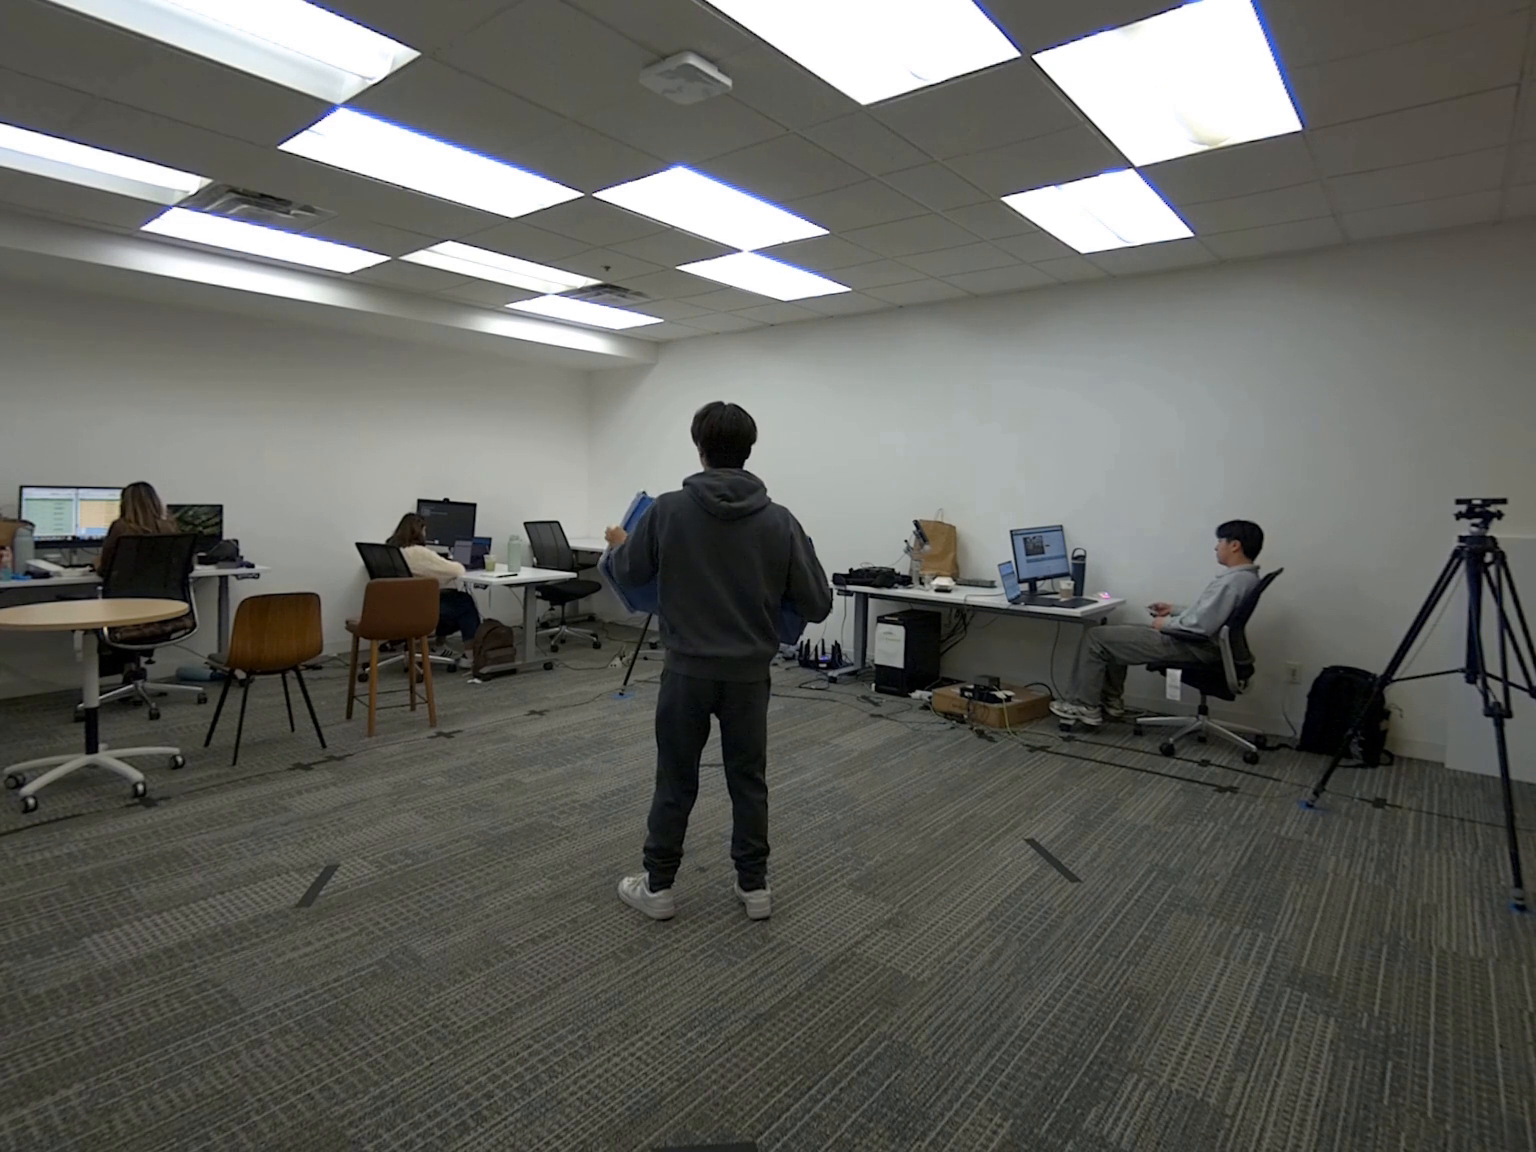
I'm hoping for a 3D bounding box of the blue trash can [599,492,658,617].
[{"bbox_3d":[-0.211,-0.012,3.174,0.734,0.381,0.360,14,-30,23],"label":"blue trash can"}]
